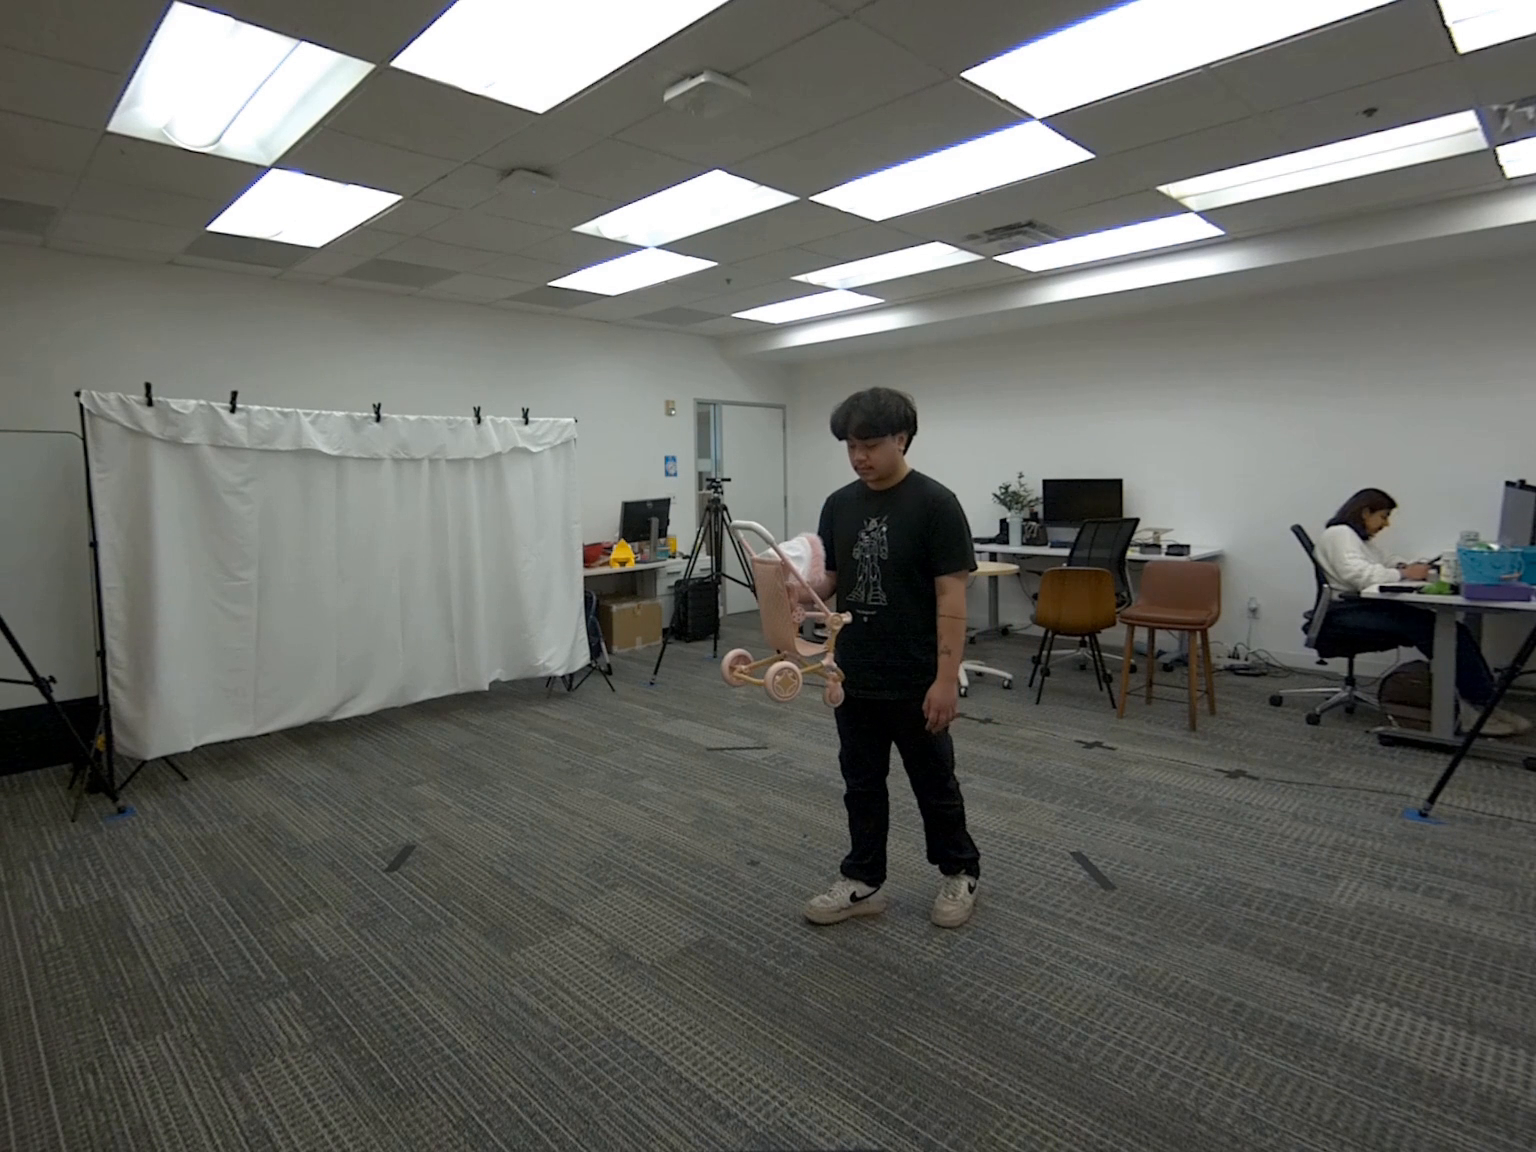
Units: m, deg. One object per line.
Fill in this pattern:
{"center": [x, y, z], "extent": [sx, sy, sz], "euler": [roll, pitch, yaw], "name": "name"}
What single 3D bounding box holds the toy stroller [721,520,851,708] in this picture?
{"center": [0.074, 0.121, 2.402], "extent": [0.334, 0.535, 0.287], "euler": [1, 0, -24], "name": "toy stroller"}
